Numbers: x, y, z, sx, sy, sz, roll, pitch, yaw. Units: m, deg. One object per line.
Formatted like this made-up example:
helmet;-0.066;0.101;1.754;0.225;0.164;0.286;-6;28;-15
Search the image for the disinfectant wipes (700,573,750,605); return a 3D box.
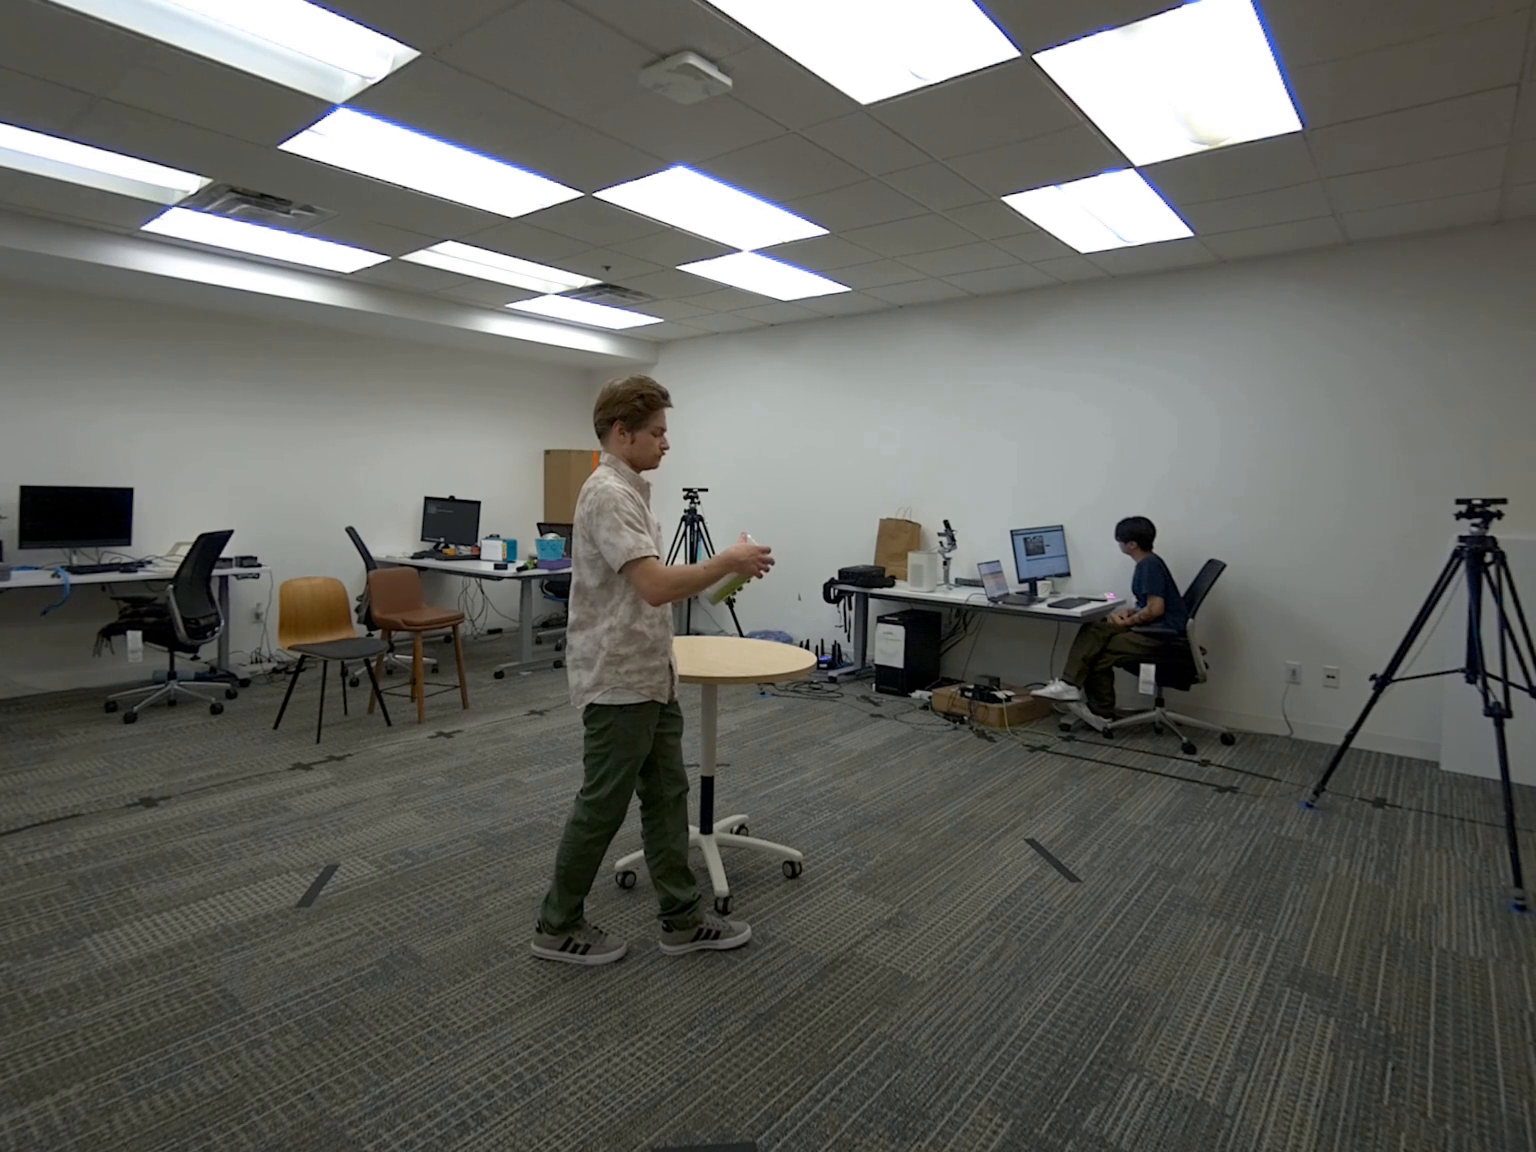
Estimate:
disinfectant wipes;-0.110;-0.017;2.485;0.217;0.117;0.118;-37;5;0
